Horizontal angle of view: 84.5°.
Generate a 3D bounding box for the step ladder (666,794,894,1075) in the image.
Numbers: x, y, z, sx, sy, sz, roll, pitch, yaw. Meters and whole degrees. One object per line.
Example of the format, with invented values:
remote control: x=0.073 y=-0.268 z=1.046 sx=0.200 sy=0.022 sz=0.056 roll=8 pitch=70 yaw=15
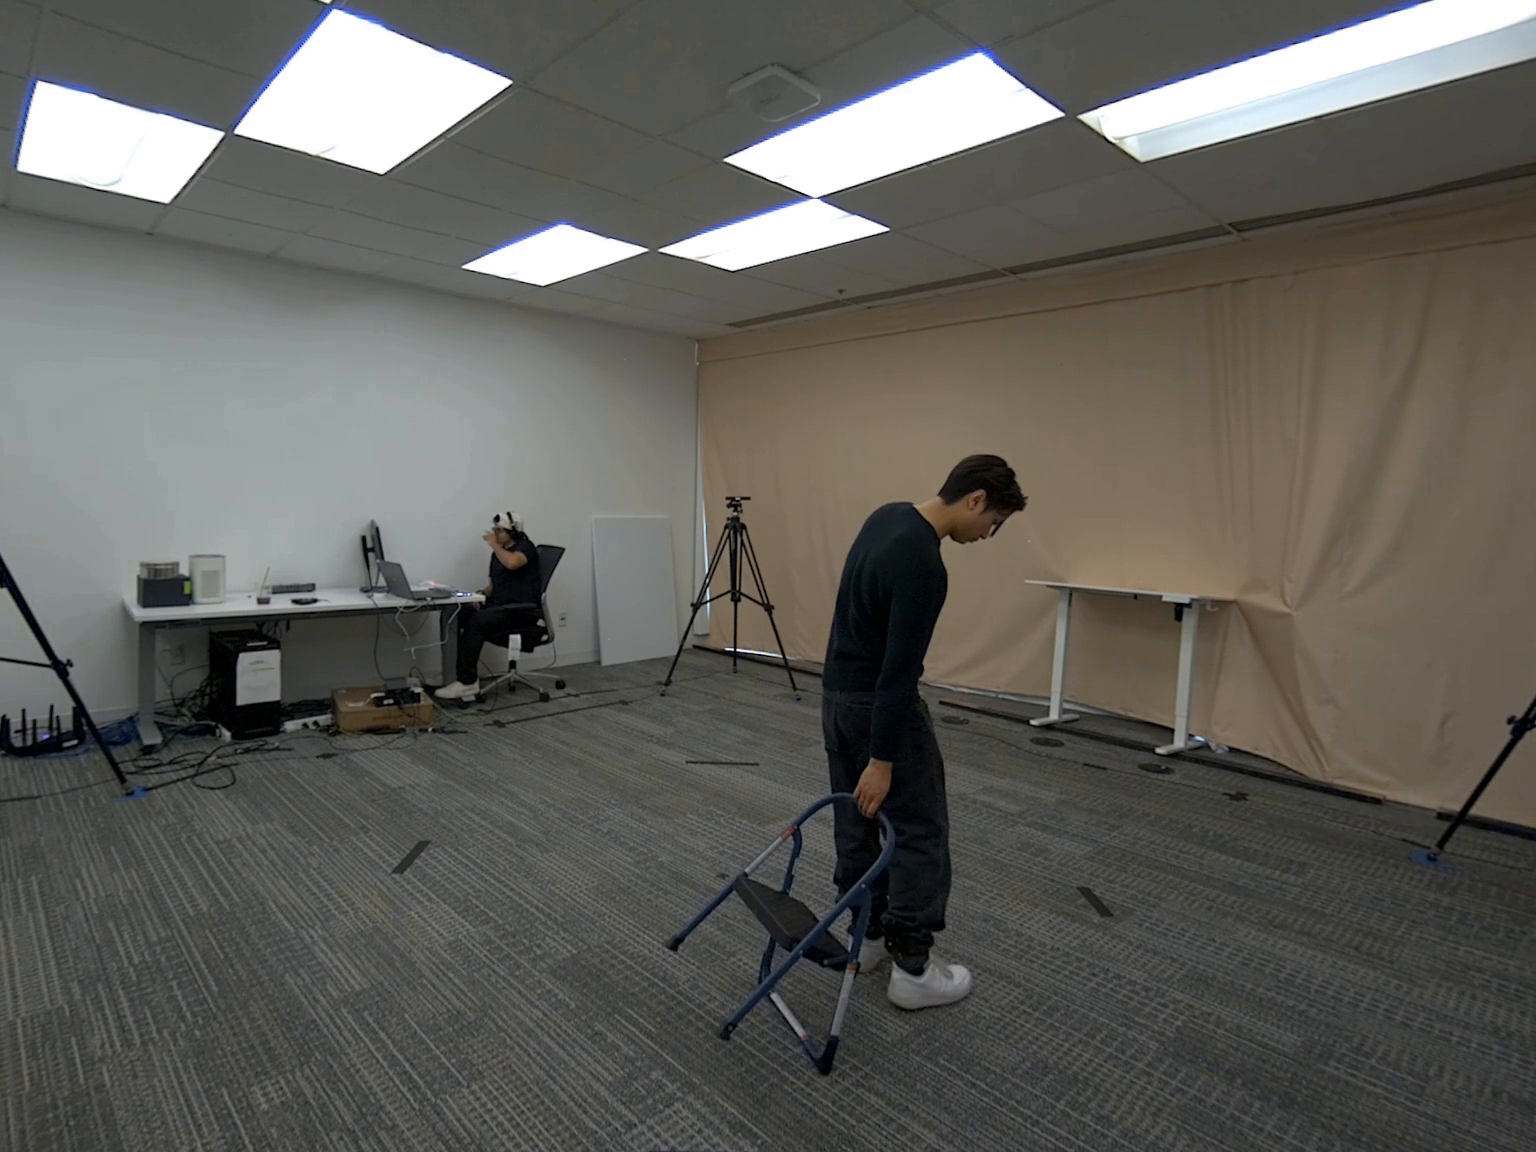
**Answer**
step ladder: x=0.070 y=0.857 z=2.202 sx=0.342 sy=0.607 sz=0.439 roll=32 pitch=-8 yaw=-22
